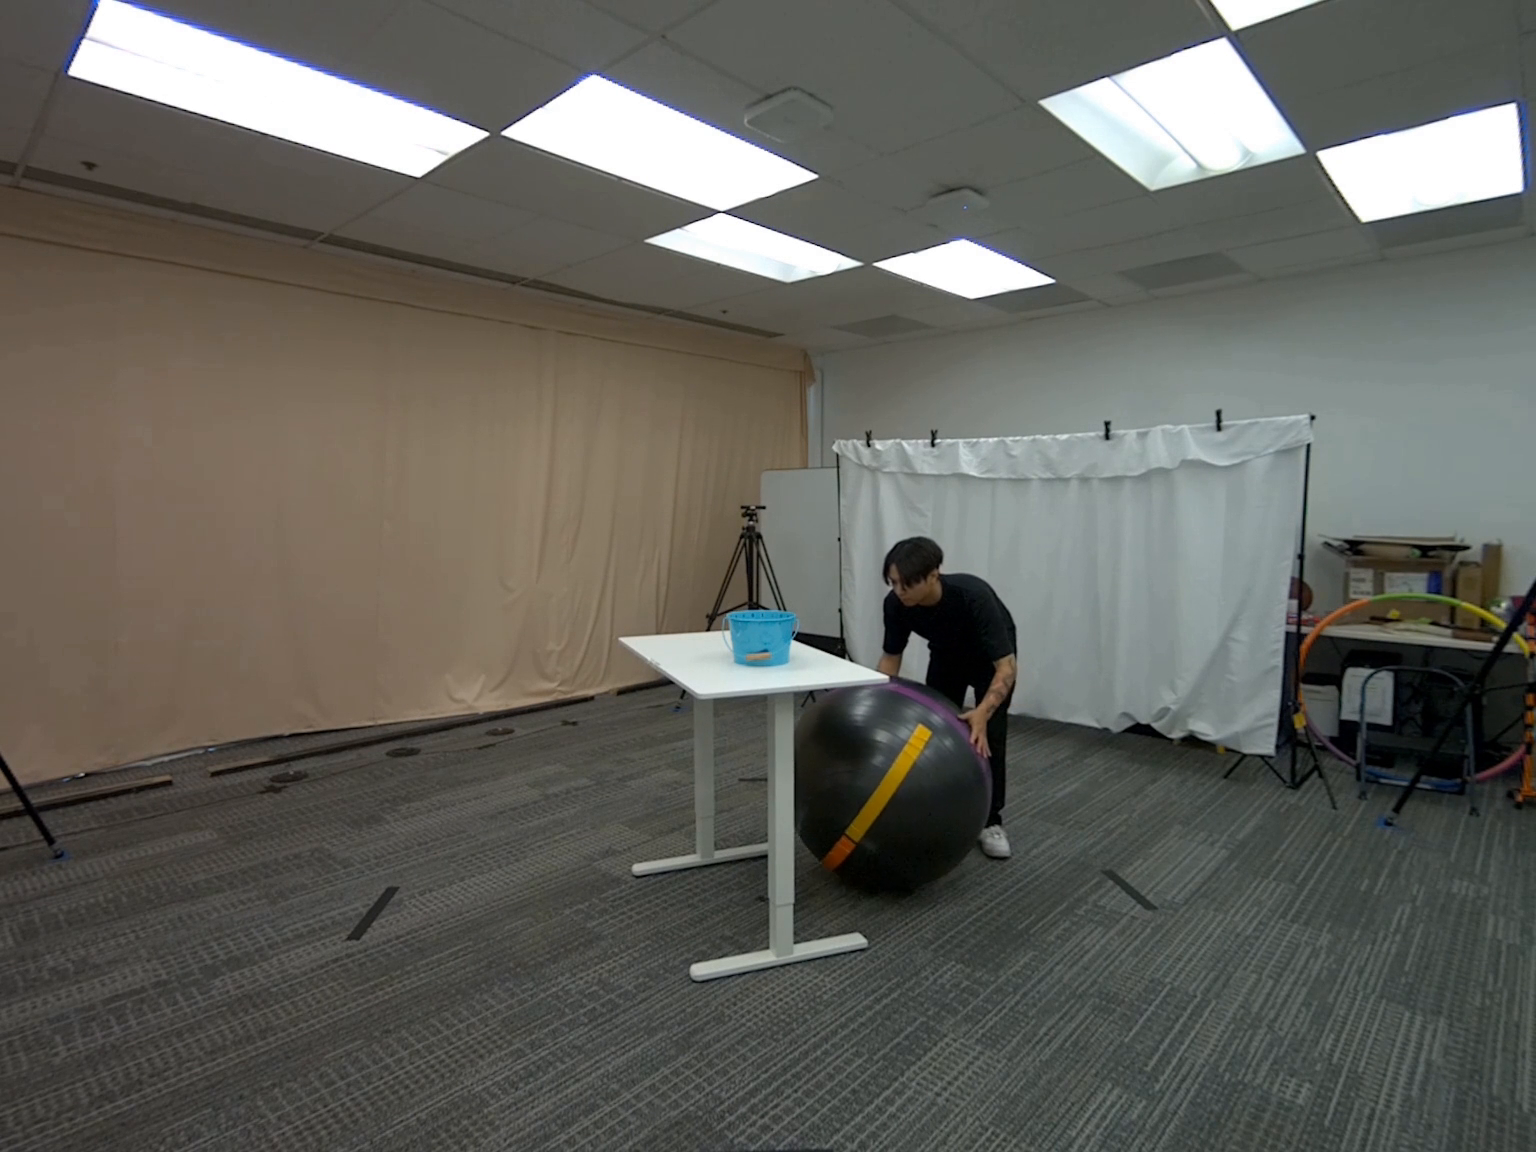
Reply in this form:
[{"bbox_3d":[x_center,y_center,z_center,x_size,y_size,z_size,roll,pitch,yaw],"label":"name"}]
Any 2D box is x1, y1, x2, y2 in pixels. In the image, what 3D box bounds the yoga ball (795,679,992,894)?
[{"bbox_3d":[0.444,0.764,3.126,0.757,0.756,0.760,0,4,-2],"label":"yoga ball"}]
